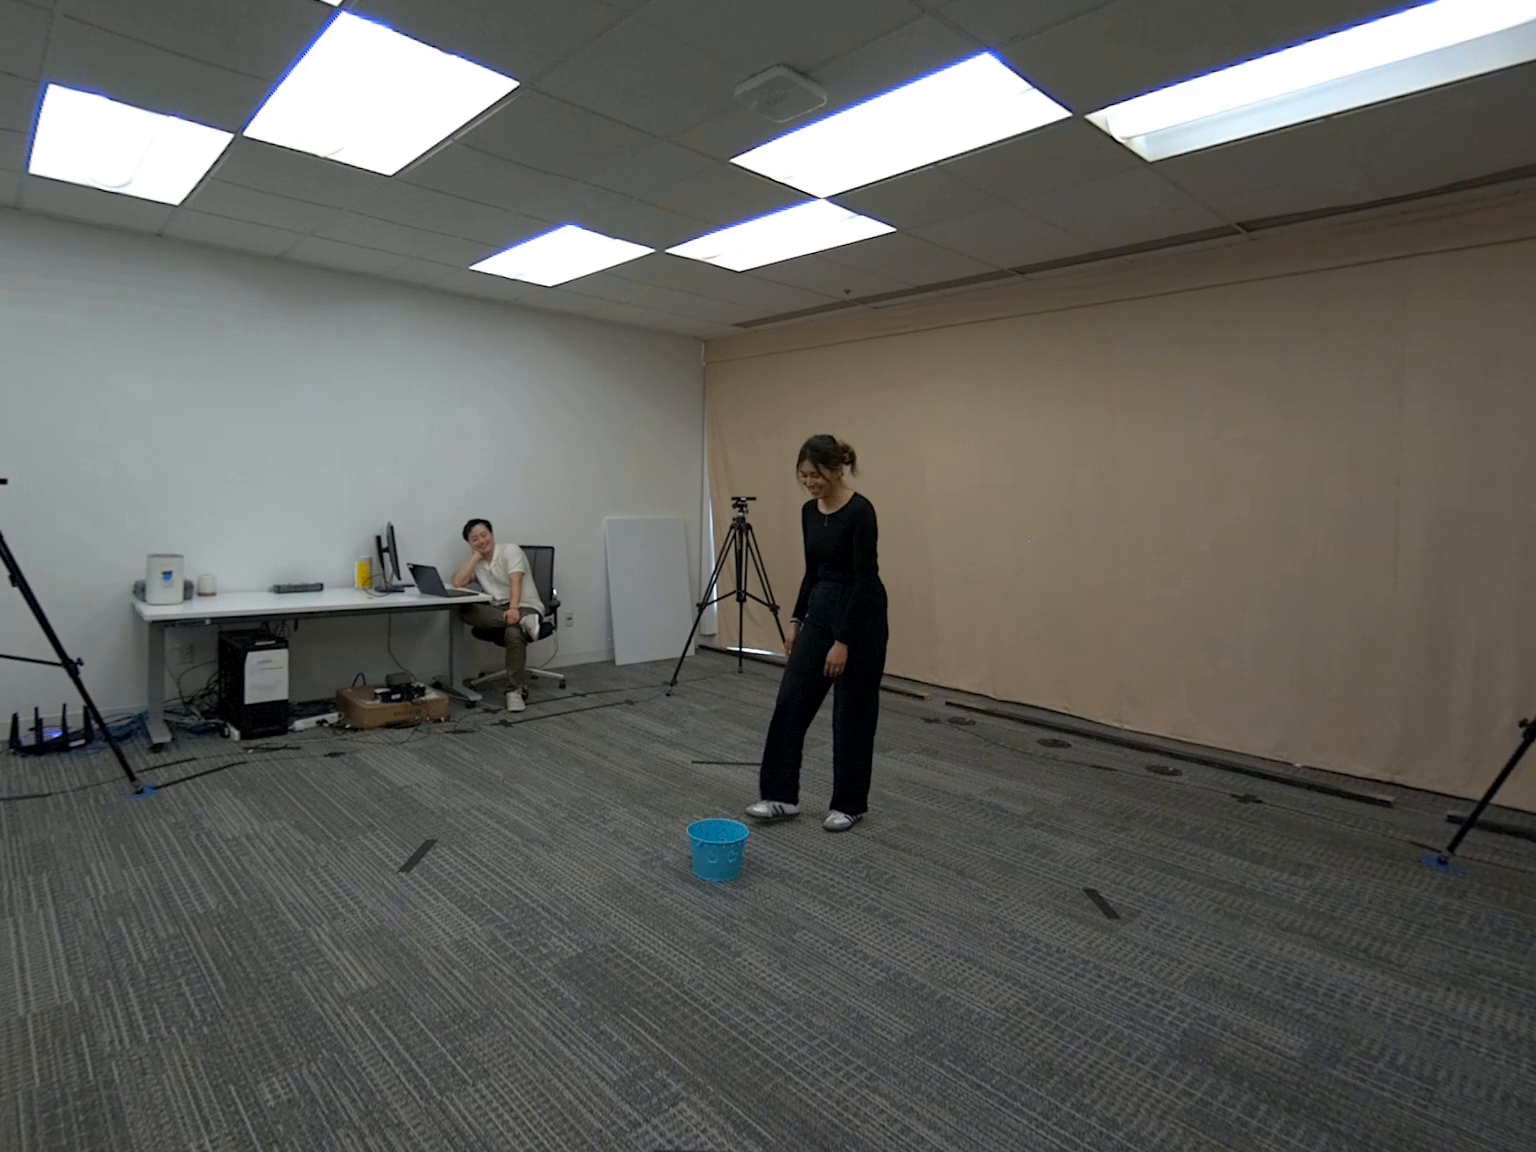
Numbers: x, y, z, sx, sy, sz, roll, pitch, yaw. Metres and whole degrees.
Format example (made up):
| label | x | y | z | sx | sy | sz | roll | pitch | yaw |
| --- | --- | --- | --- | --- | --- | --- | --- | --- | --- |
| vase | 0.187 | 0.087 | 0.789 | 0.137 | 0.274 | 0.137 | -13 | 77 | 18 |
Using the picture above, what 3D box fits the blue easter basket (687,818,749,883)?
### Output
| label | x | y | z | sx | sy | sz | roll | pitch | yaw |
| --- | --- | --- | --- | --- | --- | --- | --- | --- | --- |
| blue easter basket | -0.200 | 1.022 | 3.152 | 0.243 | 0.155 | 0.244 | 1 | 4 | -1 |
